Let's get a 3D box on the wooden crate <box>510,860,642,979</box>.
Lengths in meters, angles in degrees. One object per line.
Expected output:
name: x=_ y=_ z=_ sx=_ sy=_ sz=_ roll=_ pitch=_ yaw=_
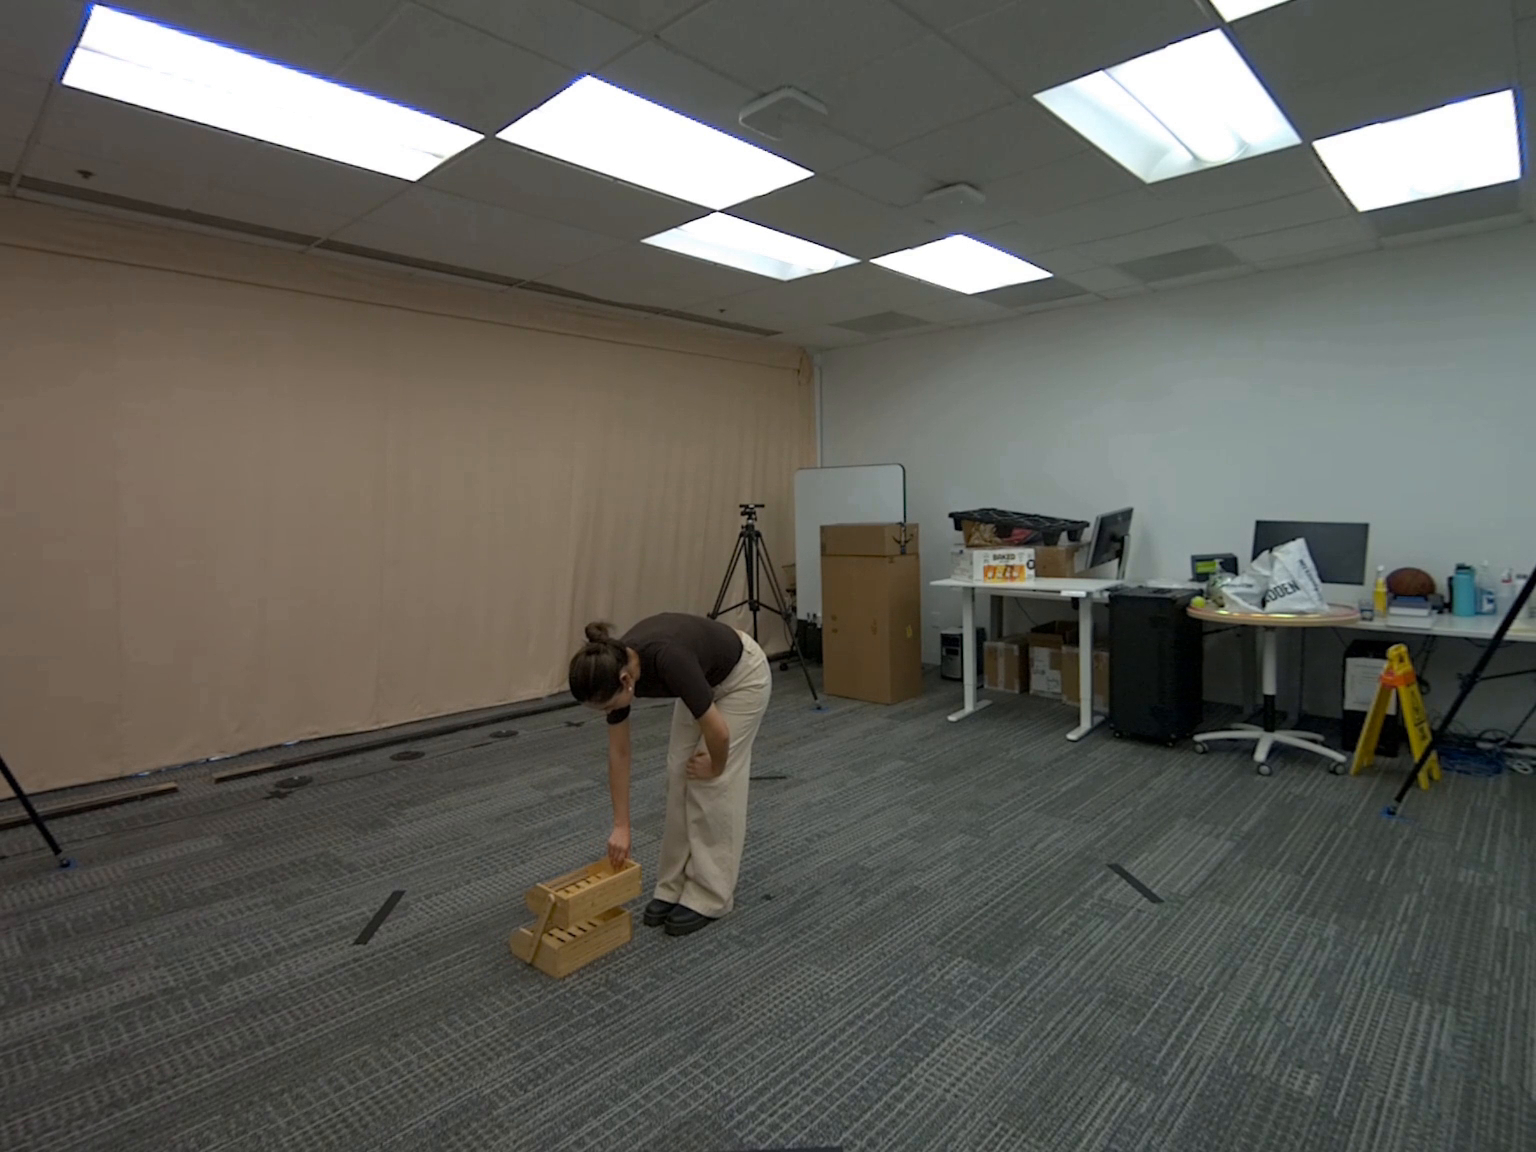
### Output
wooden crate: x=-0.610 y=1.047 z=2.658 sx=0.312 sy=0.272 sz=0.315 roll=3 pitch=6 yaw=41
